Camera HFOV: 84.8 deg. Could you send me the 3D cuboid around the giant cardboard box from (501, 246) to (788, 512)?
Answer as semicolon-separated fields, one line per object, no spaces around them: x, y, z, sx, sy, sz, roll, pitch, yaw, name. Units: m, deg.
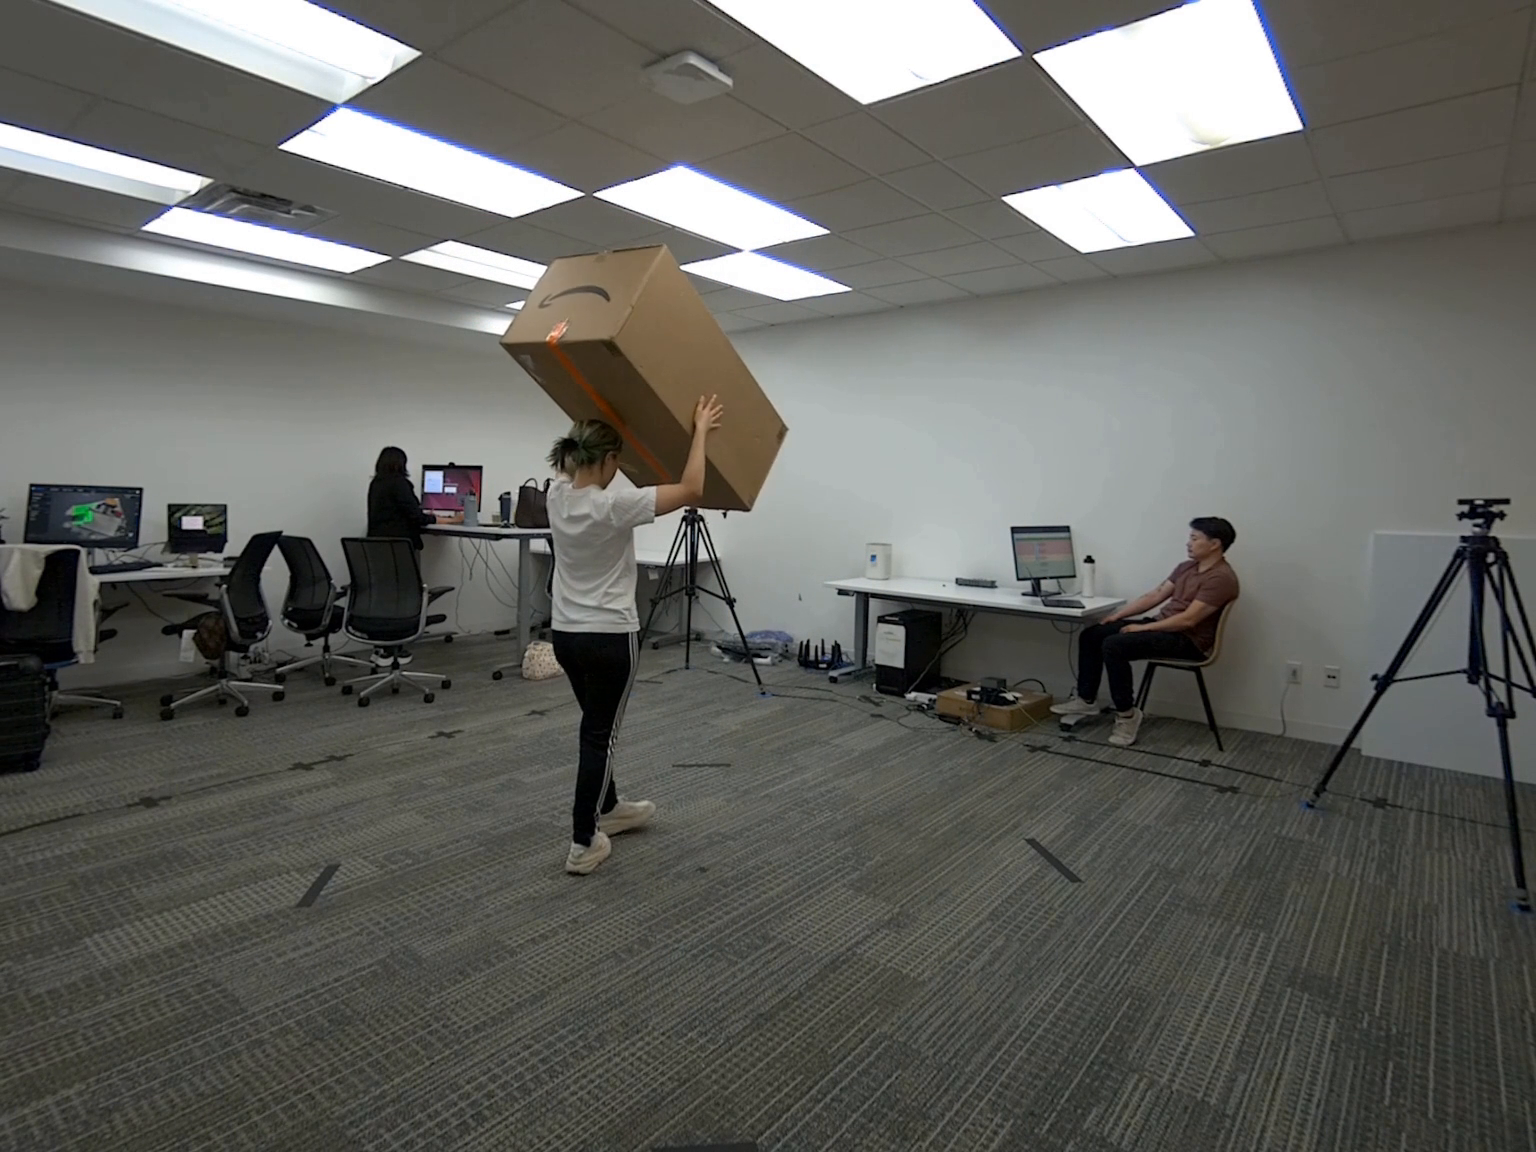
-0.452;-0.719;3.318;0.604;0.451;0.984;8;-27;35;giant cardboard box
